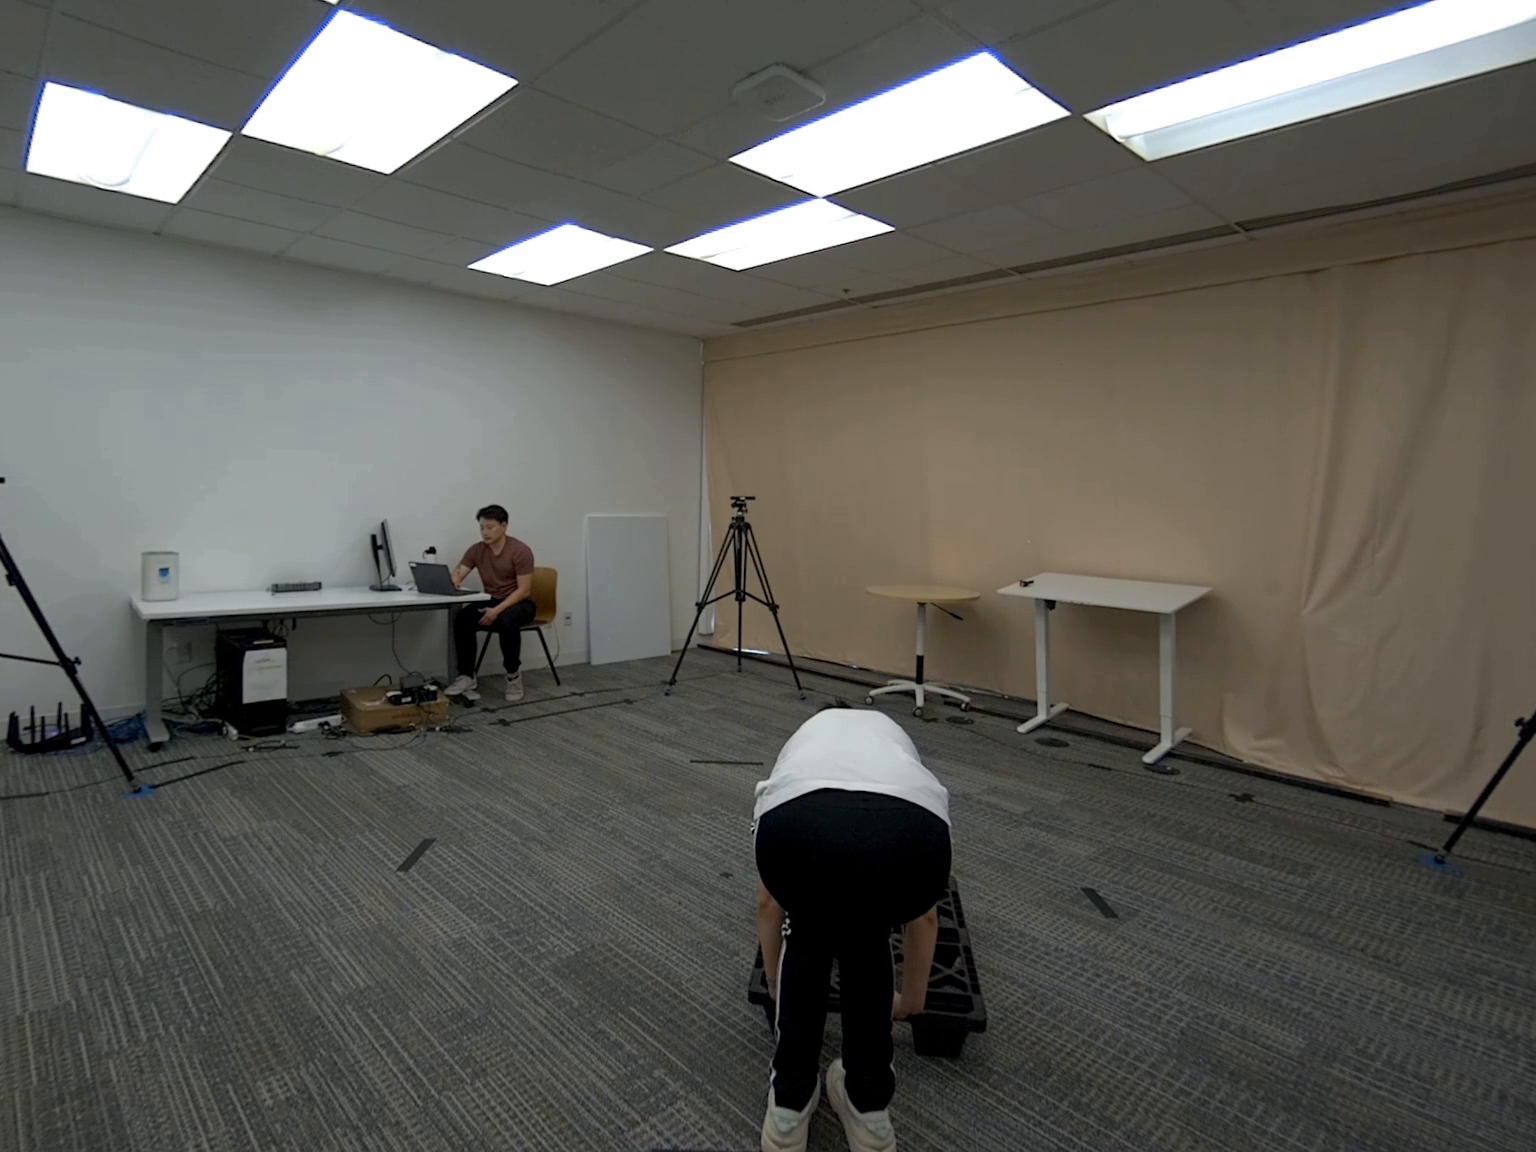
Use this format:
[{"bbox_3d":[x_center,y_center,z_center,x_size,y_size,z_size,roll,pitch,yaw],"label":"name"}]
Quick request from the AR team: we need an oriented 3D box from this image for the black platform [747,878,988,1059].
[{"bbox_3d":[0.287,1.104,2.503,0.609,0.143,0.803,3,6,8],"label":"black platform"}]
